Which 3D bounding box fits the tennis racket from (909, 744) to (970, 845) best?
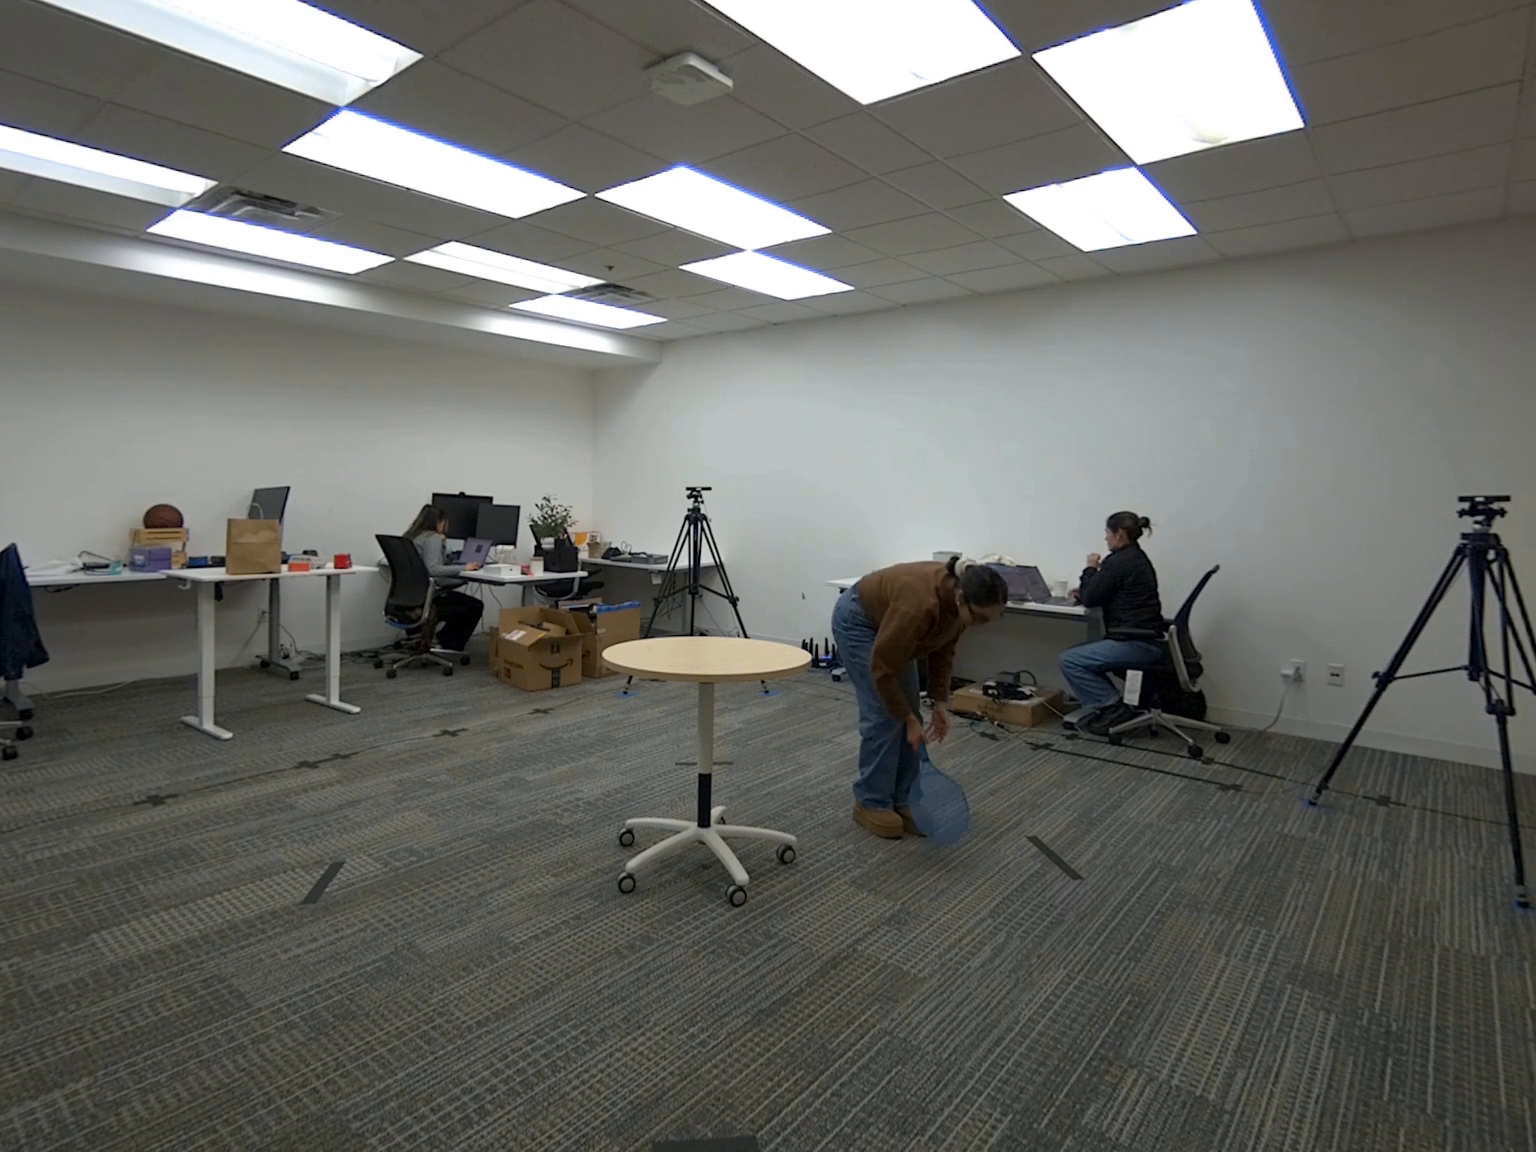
[{"bbox_3d":[0.651,0.789,3.221,0.216,0.445,0.030,-10,-34,9],"label":"tennis racket"}]
